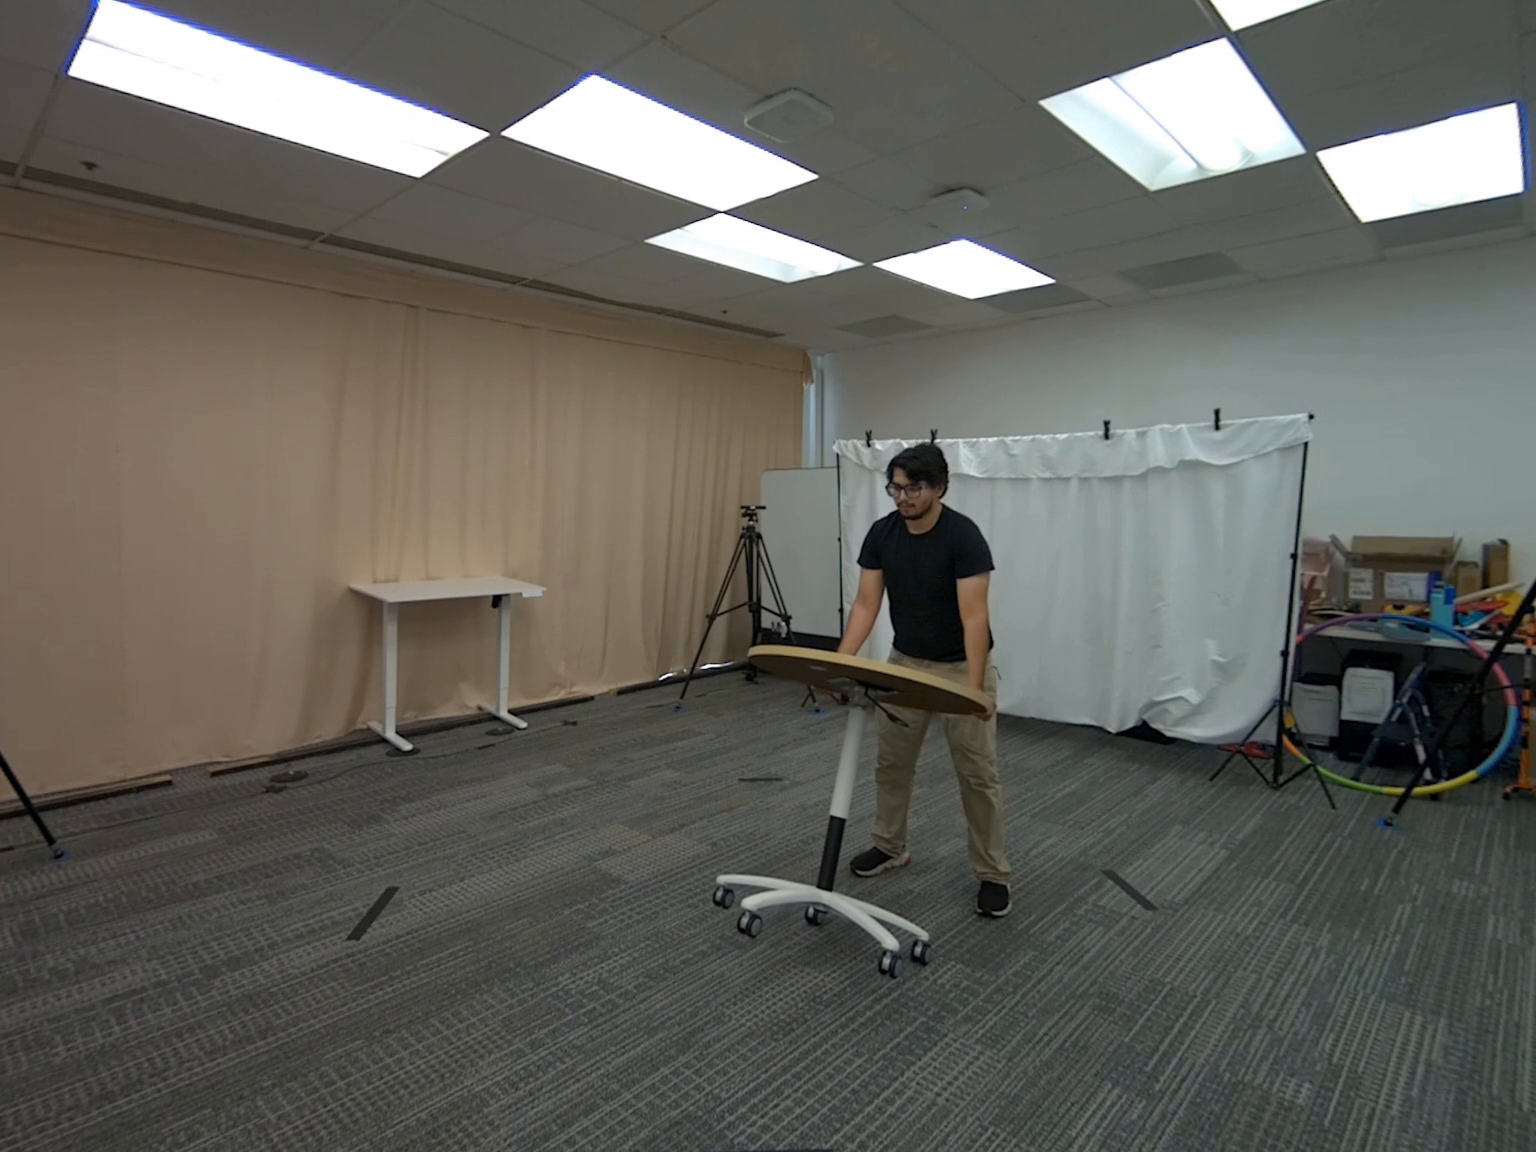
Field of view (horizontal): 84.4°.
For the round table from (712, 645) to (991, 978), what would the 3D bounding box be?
[{"bbox_3d":[0.232,0.709,2.611,0.787,0.790,0.779,13,-13,1],"label":"round table"}]
